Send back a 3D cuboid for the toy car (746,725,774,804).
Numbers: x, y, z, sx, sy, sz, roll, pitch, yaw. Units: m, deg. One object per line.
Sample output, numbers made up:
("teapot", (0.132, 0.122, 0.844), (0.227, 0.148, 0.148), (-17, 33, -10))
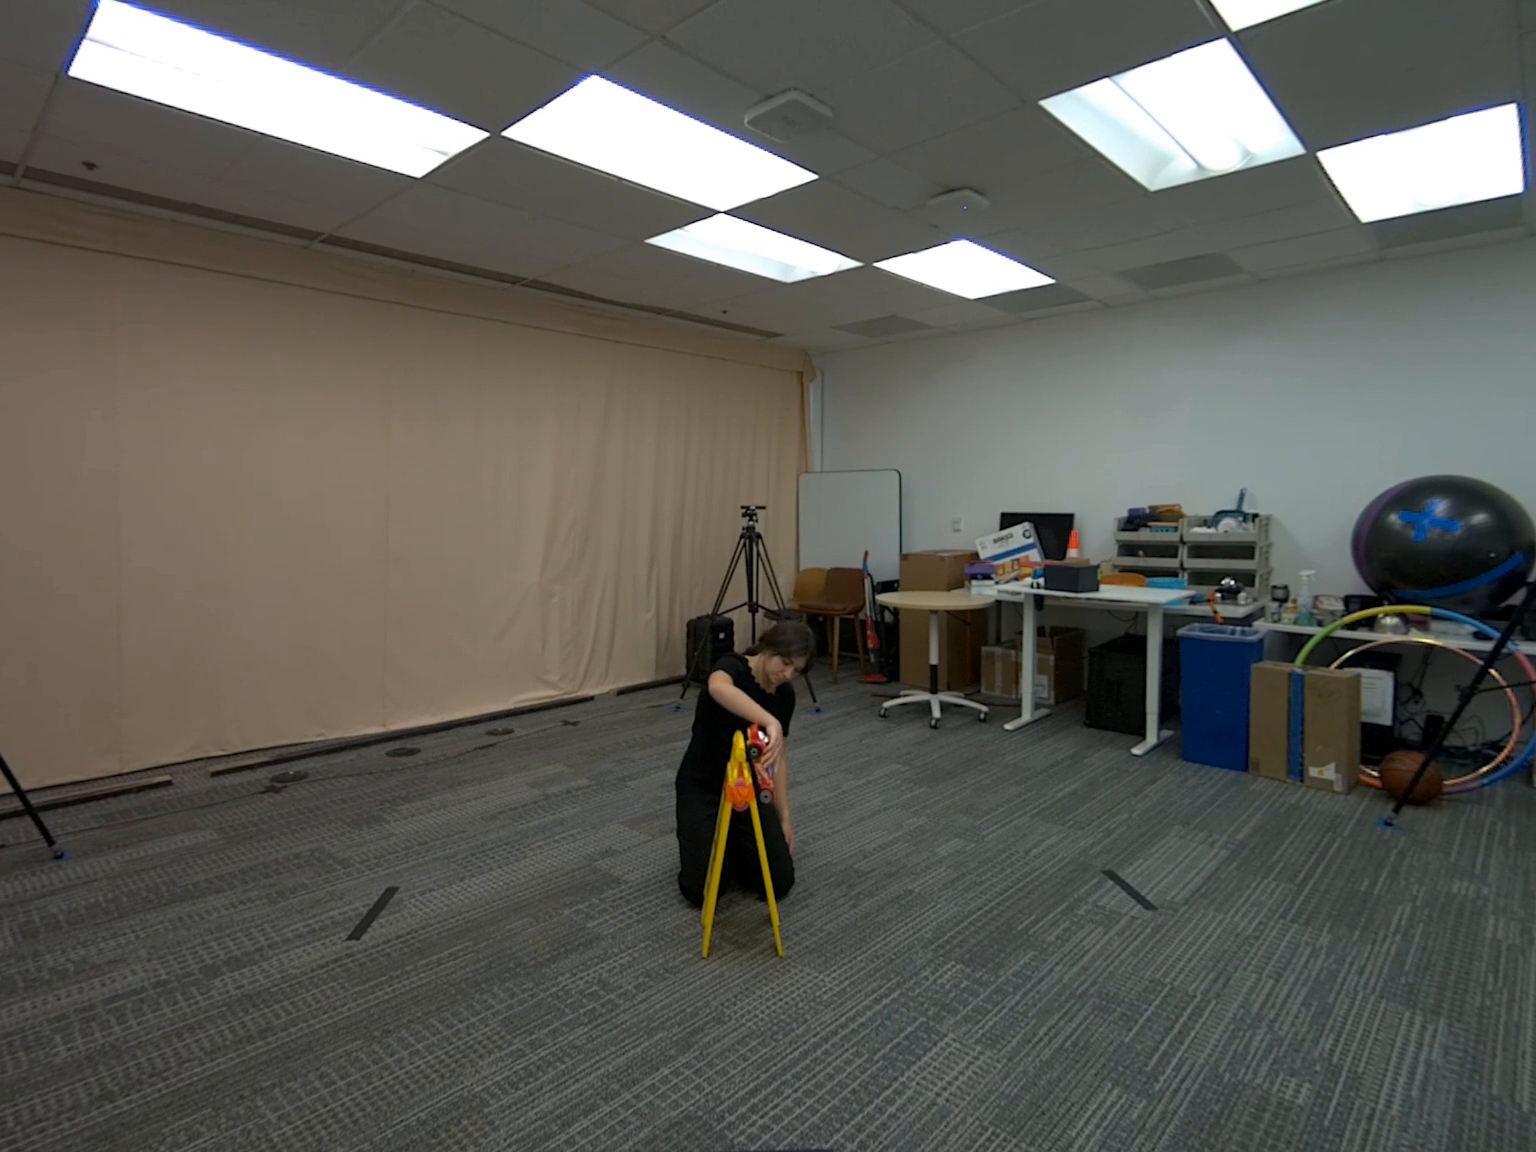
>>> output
("toy car", (-0.029, 0.595, 2.699), (0.083, 0.254, 0.131), (-6, 2, -4))
